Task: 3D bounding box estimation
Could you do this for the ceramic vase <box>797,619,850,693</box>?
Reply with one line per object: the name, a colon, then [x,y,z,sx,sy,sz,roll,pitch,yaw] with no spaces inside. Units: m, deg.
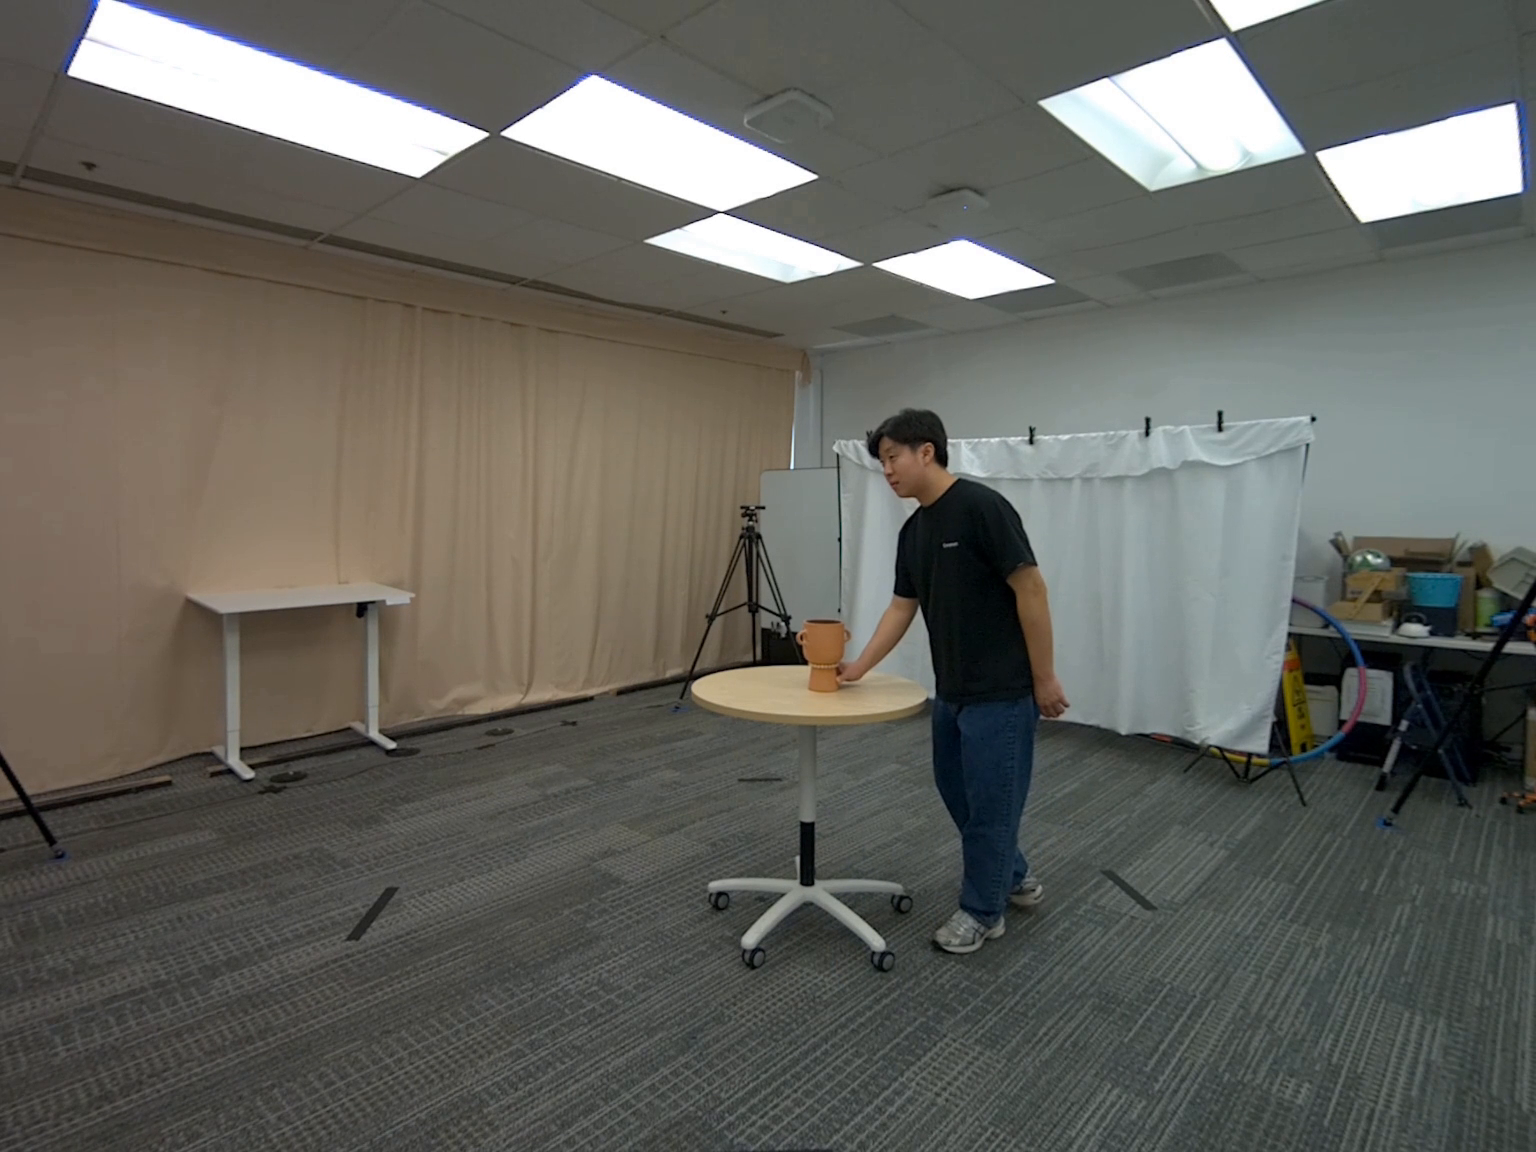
ceramic vase: [0.191,0.260,2.730,0.162,0.219,0.132,1,2,16]
